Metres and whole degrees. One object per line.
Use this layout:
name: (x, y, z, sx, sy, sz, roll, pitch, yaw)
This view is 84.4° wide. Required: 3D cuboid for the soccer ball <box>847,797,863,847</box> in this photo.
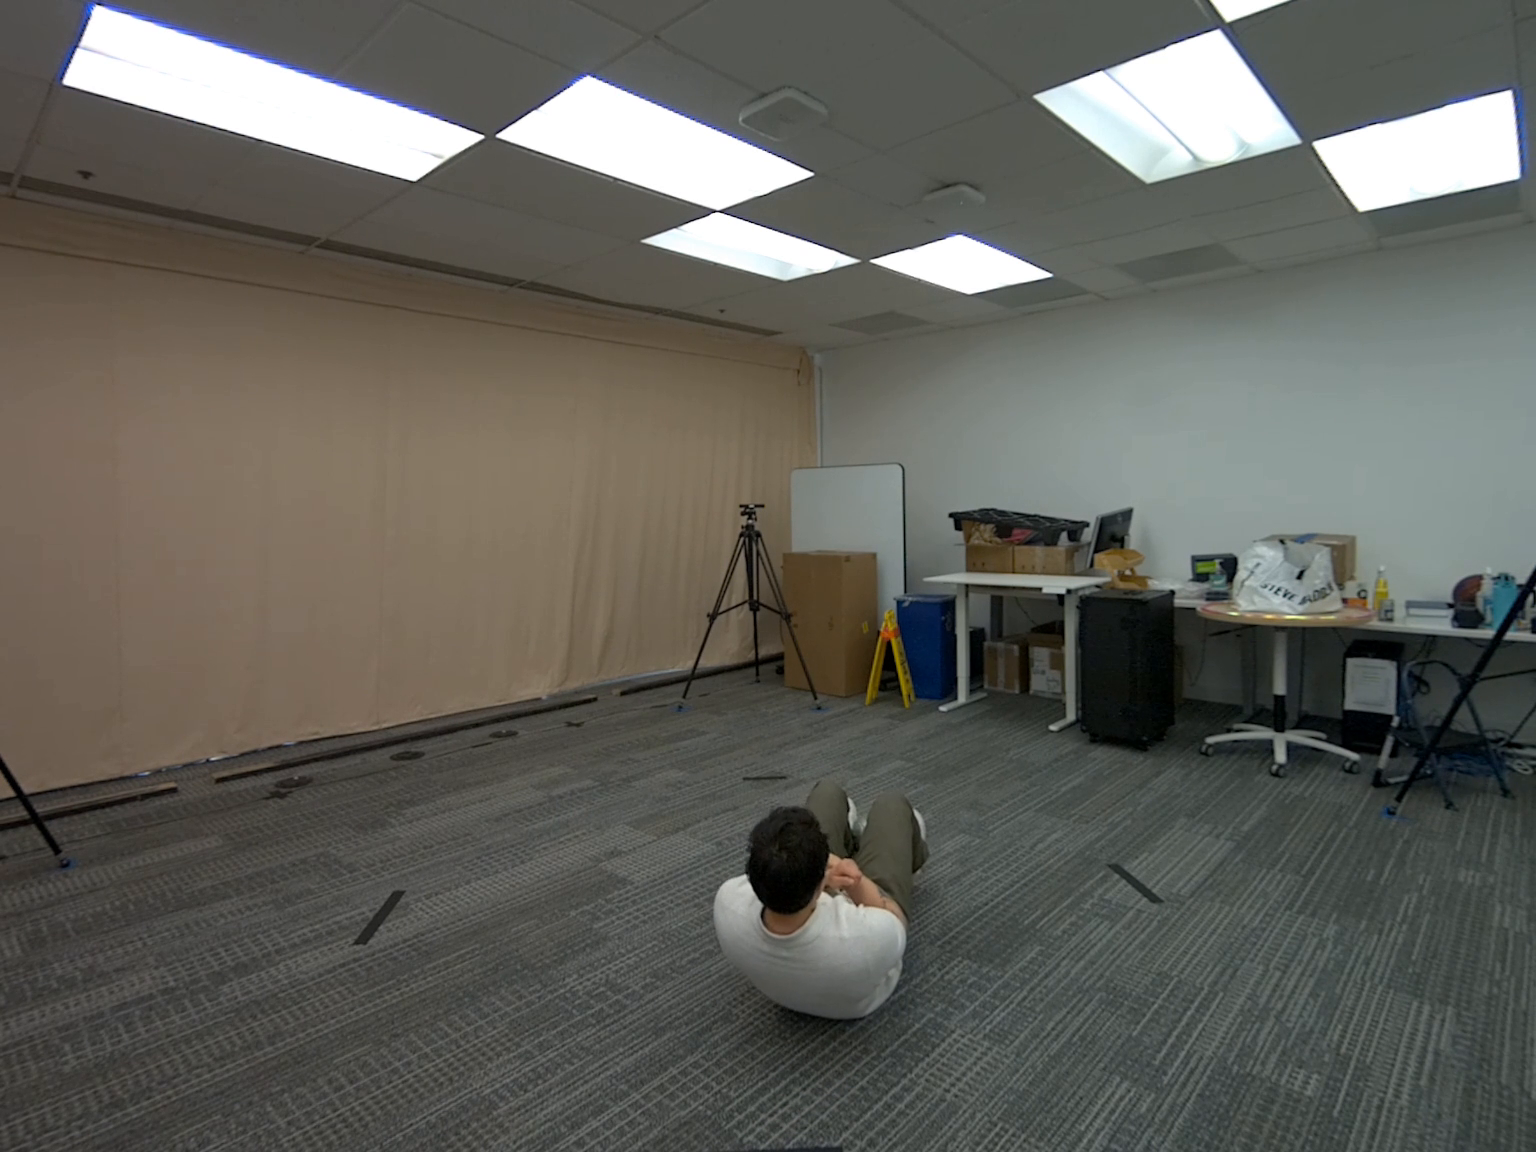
soccer ball: (0.408, 0.937, 3.029, 0.187, 0.187, 0.188, -1, 4, -2)
